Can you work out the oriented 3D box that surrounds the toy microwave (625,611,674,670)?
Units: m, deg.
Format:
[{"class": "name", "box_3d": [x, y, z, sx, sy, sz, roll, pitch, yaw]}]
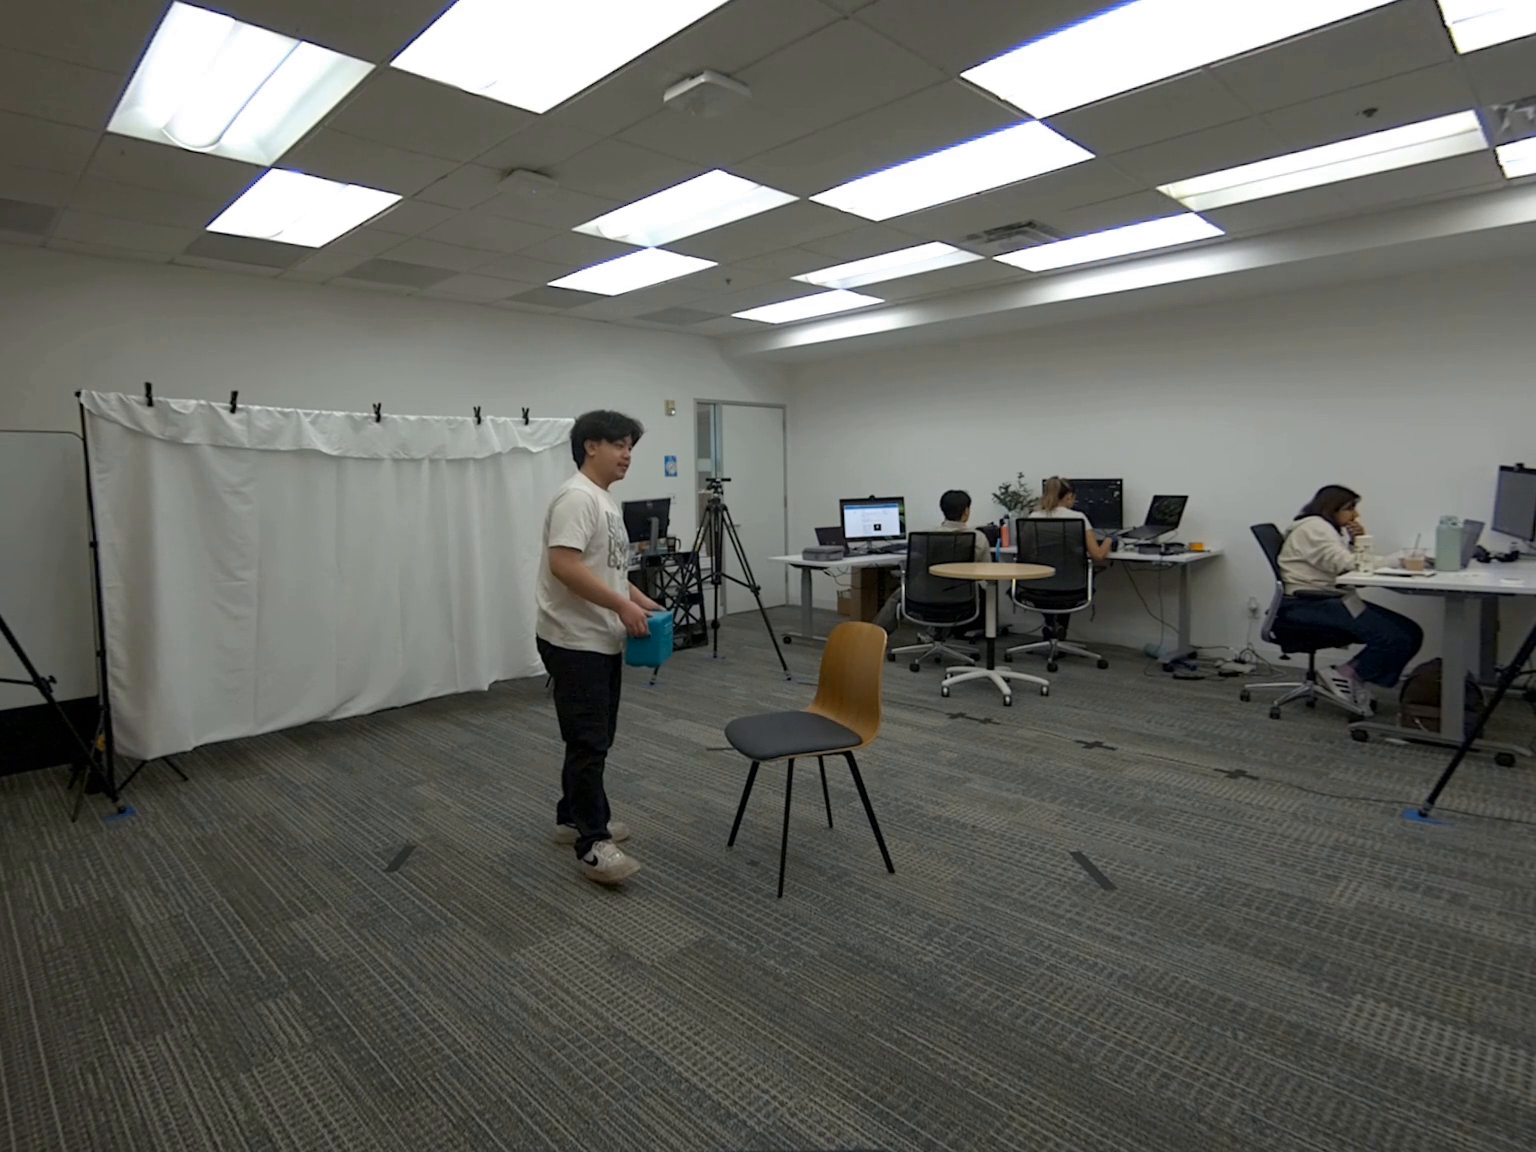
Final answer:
[{"class": "toy microwave", "box_3d": [-0.446, 0.233, 3.199, 0.153, 0.184, 0.285, 2, 3, 6]}]
